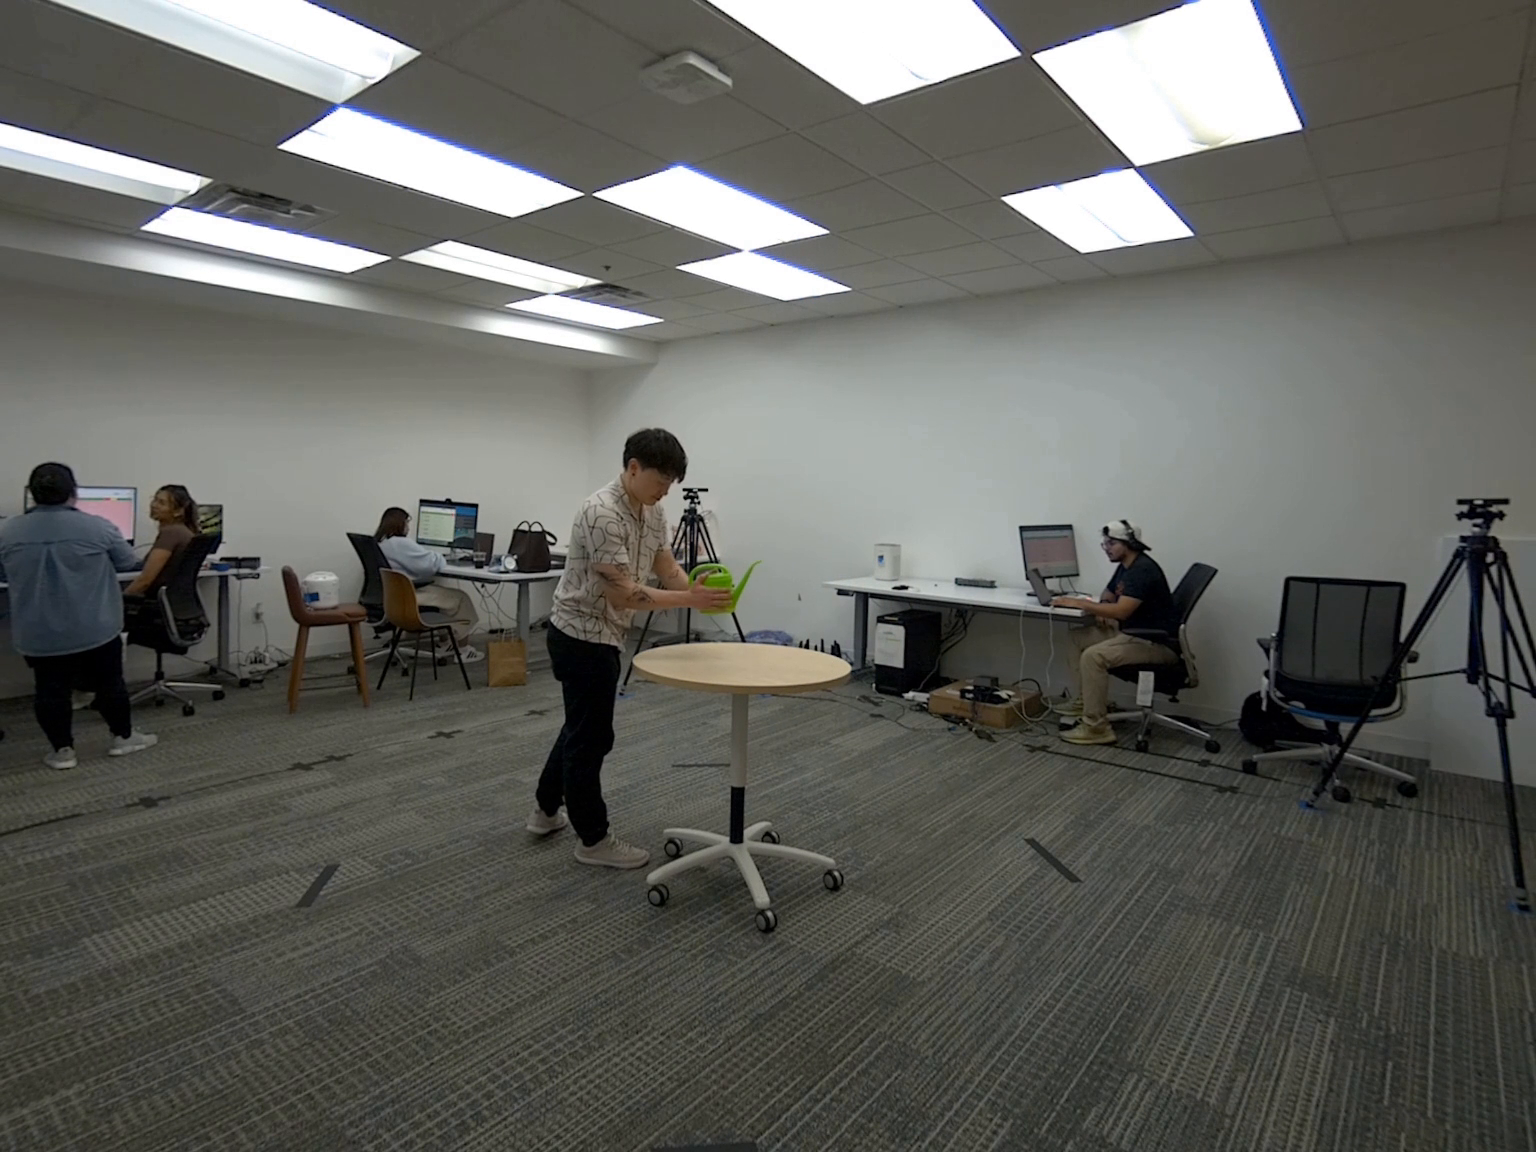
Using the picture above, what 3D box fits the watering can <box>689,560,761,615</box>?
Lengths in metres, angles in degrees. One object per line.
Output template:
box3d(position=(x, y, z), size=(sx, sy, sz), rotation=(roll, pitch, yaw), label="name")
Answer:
box3d(position=(-0.166, 0.043, 2.986), size=(0.285, 0.176, 0.096), rotation=(-4, 4, 27), label="watering can")
